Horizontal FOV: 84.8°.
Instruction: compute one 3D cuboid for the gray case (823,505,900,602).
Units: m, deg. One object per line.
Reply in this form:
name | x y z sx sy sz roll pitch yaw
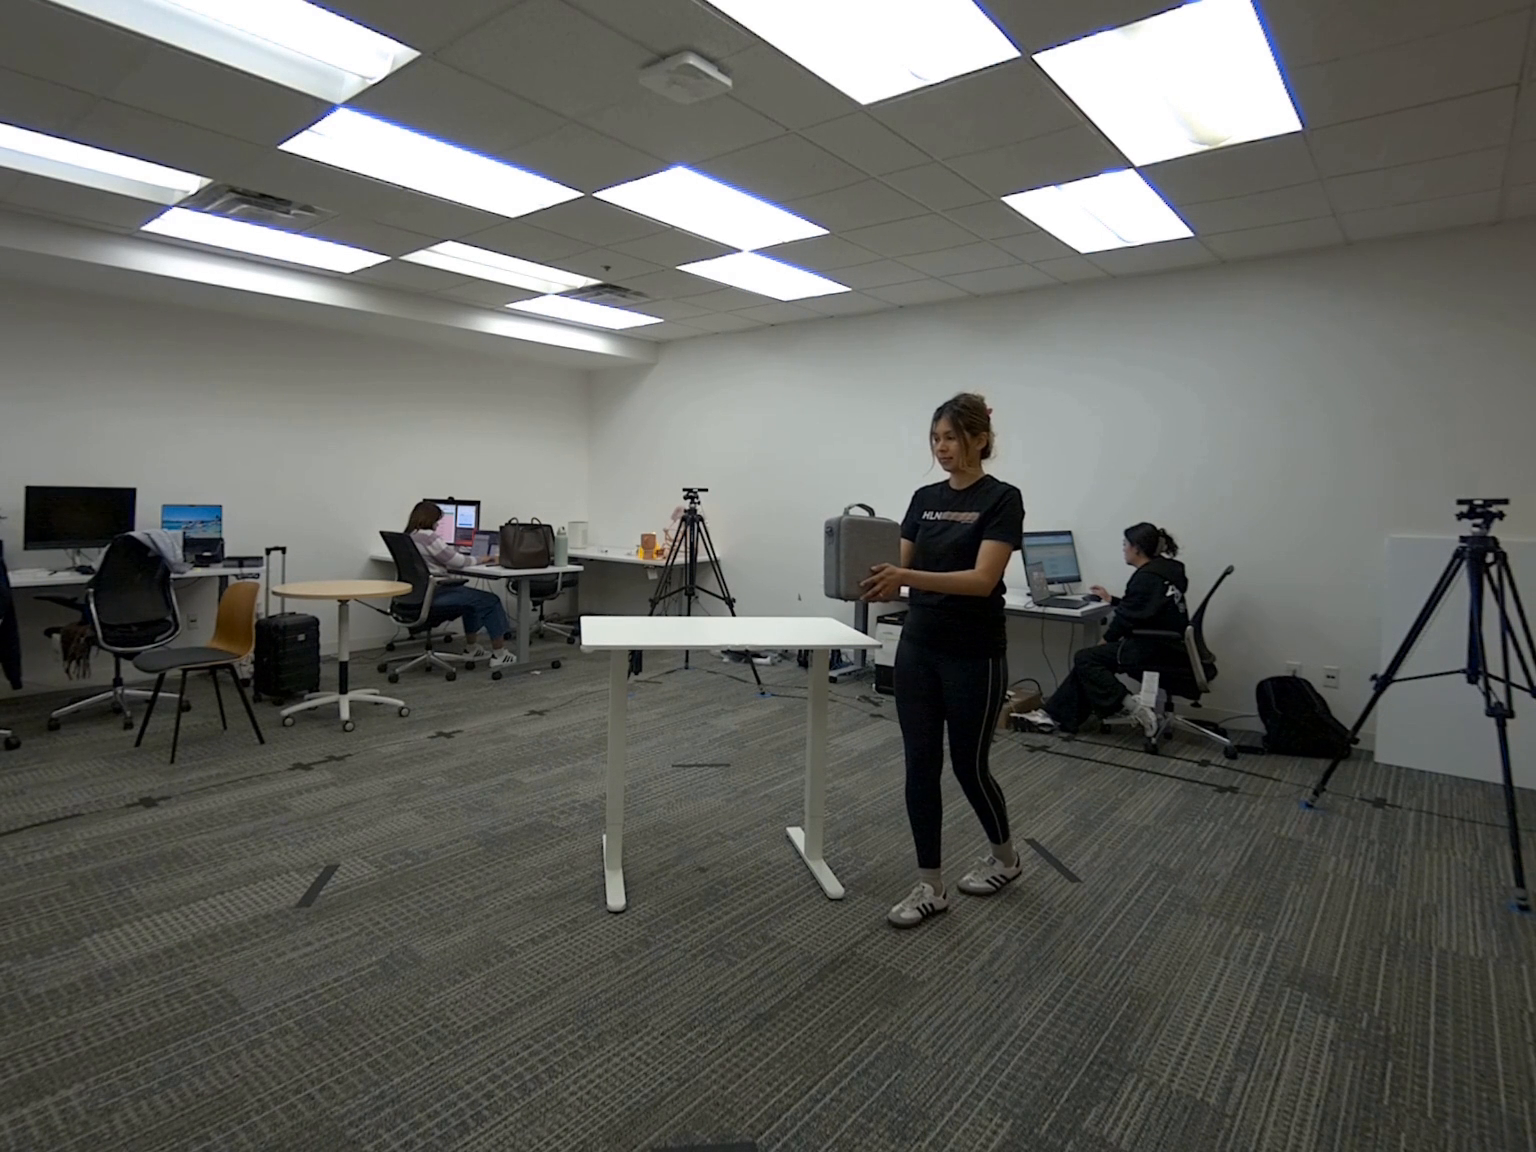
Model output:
gray case | 0.283 -0.059 2.605 0.249 0.262 0.107 4 -6 -35
